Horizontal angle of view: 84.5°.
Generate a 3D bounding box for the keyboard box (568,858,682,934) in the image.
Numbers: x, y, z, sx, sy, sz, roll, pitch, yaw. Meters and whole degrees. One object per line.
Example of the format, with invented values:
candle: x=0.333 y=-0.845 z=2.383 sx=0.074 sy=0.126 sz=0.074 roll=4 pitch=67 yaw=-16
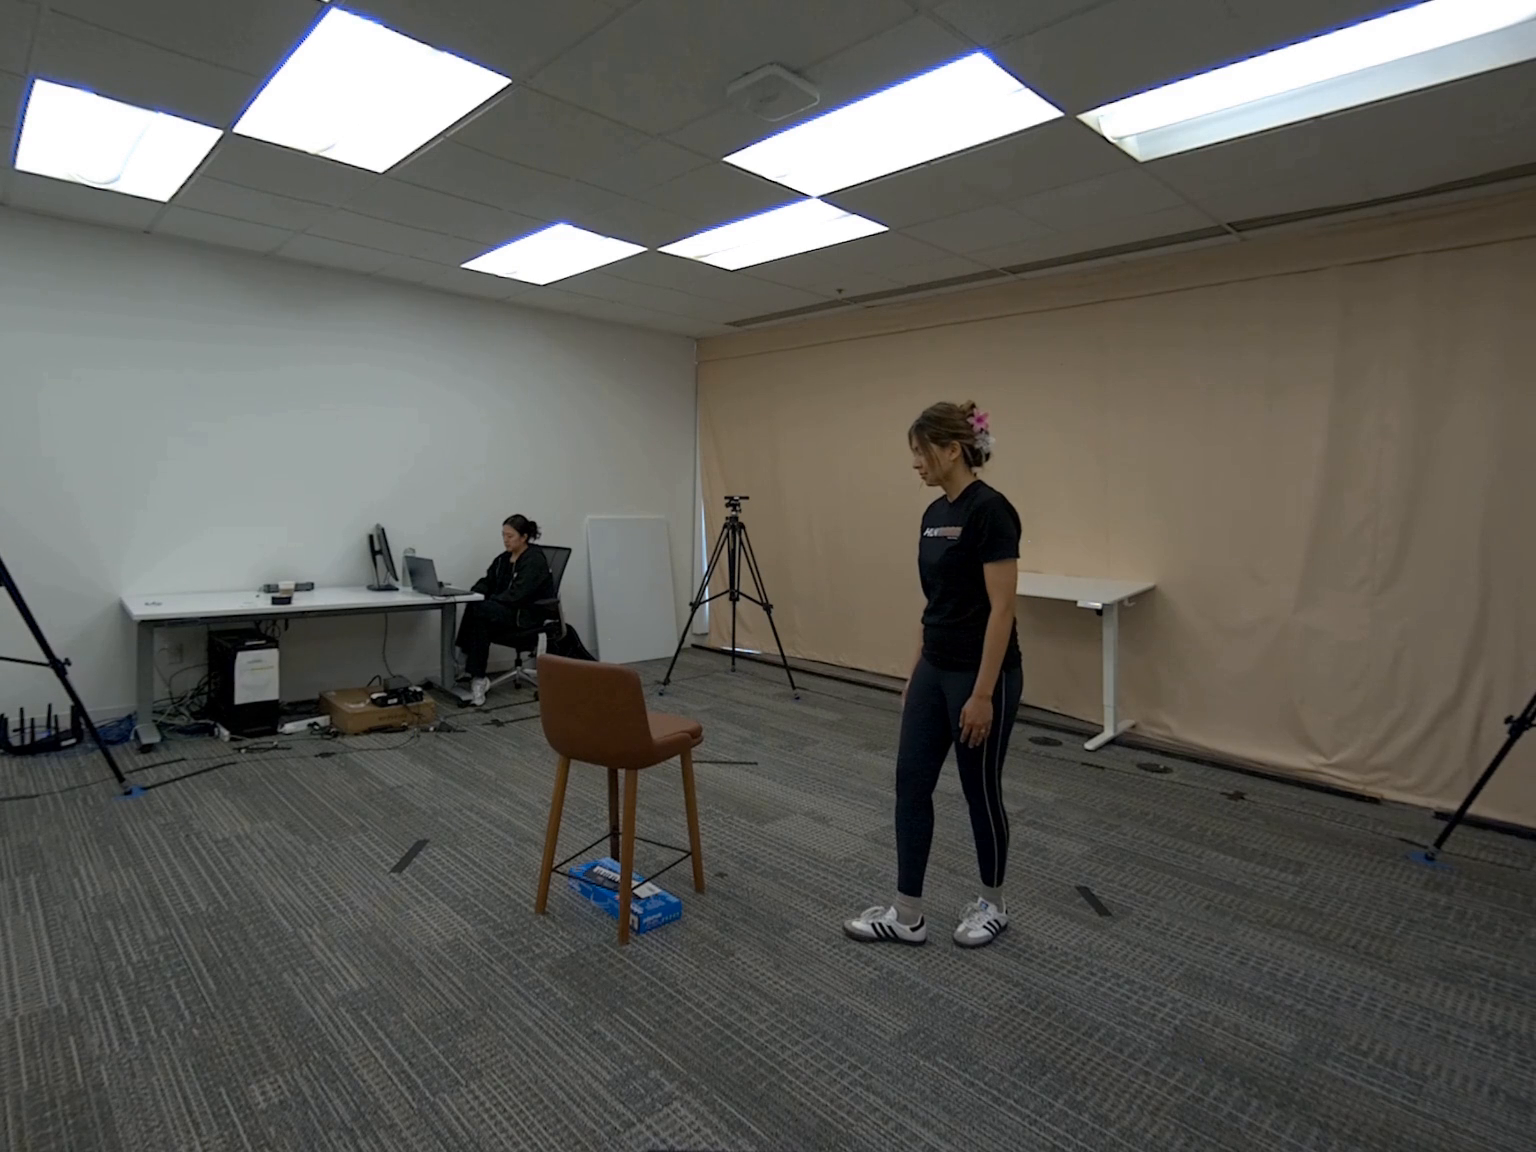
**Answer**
keyboard box: x=-0.506 y=1.092 z=2.883 sx=0.172 sy=0.059 sz=0.448 roll=-4 pitch=8 yaw=-43
